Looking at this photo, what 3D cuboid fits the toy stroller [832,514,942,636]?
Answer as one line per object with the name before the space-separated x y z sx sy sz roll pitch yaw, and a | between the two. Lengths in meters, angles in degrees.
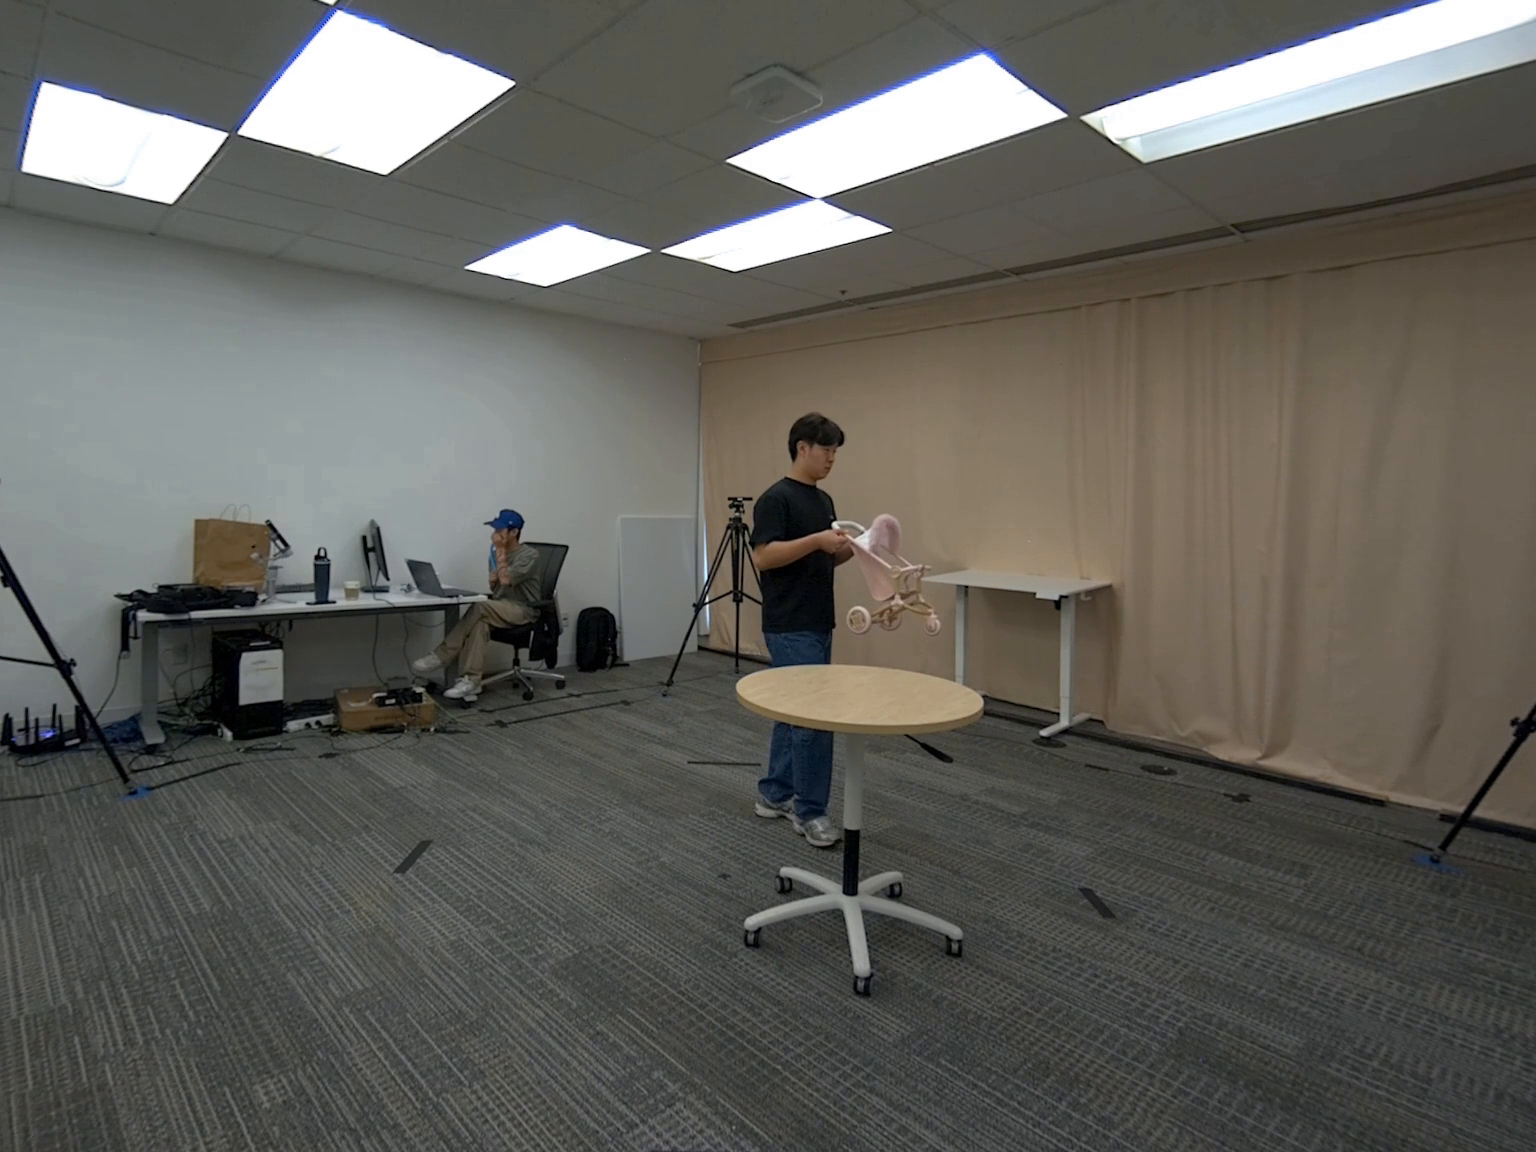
toy stroller | 0.471 -0.001 3.325 0.346 0.540 0.275 -19 -13 40
